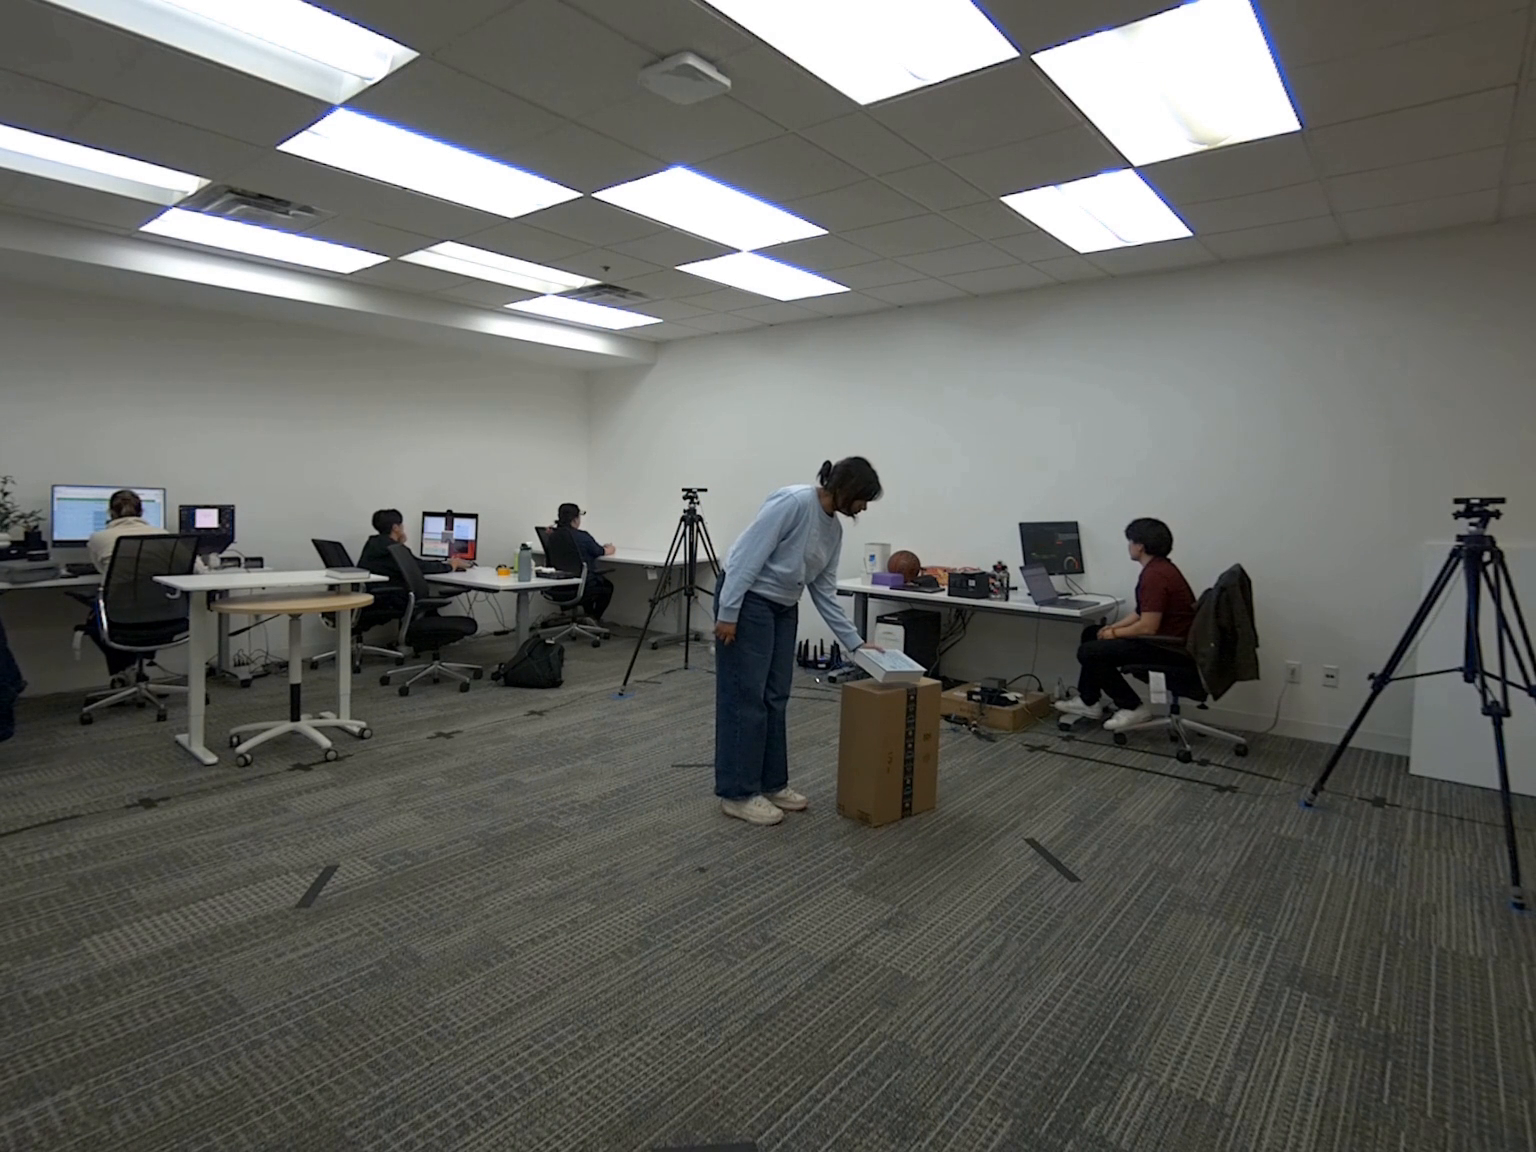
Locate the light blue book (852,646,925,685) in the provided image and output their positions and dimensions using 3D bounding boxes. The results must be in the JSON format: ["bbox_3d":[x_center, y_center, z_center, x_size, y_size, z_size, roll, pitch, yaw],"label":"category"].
[{"bbox_3d":[0.516,0.381,3.662,0.252,0.058,0.200,4,22,-39],"label":"light blue book"}]
